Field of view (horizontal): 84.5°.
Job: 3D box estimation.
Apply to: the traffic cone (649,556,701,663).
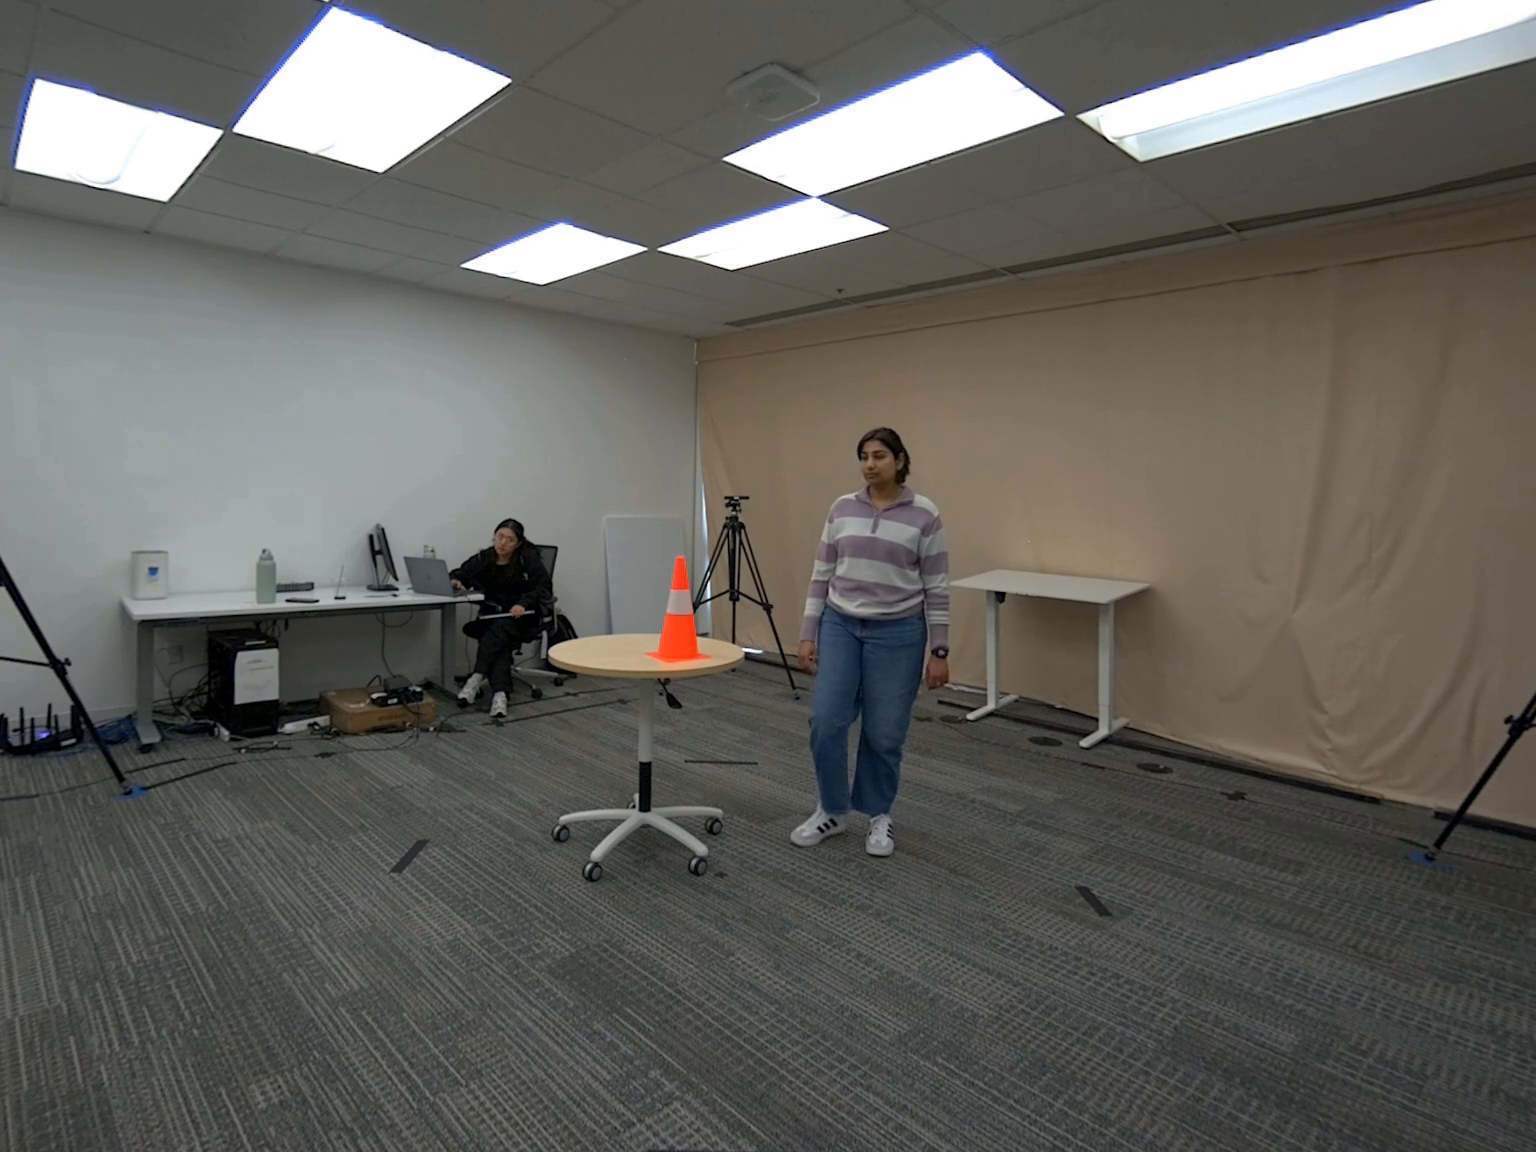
[{"bbox_3d":[-0.347,0.120,3.207,0.210,0.383,0.199,3,3,36],"label":"traffic cone"}]
